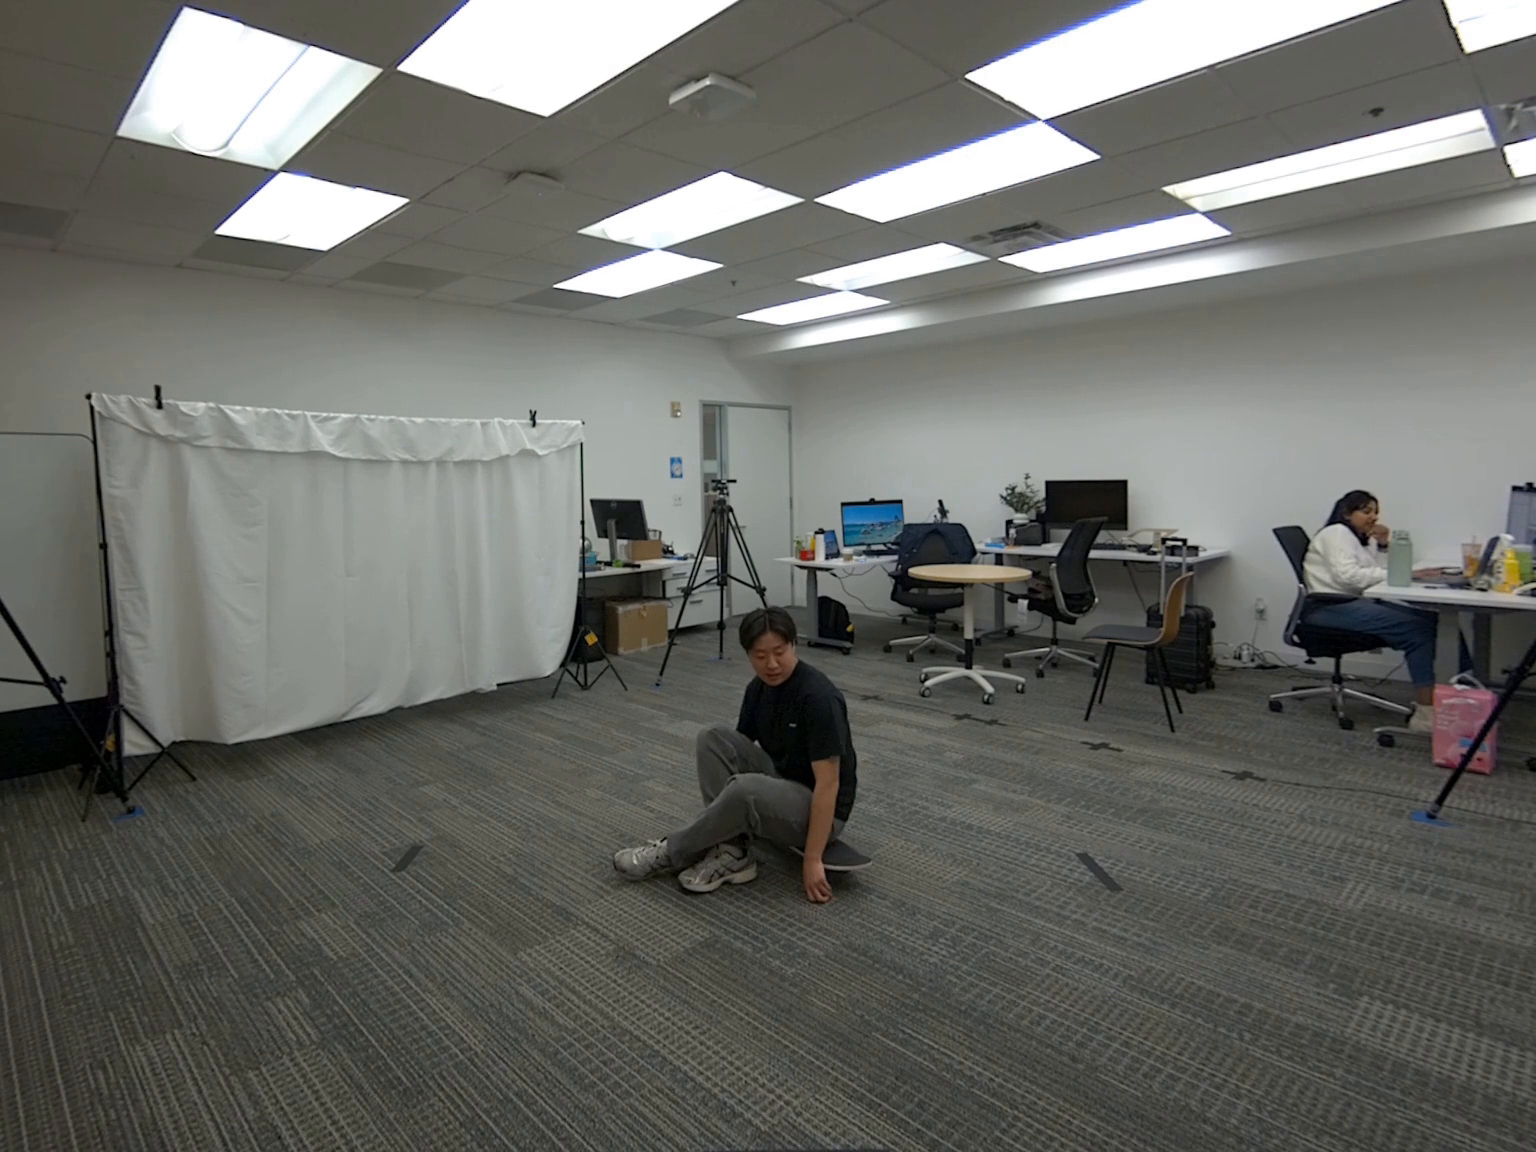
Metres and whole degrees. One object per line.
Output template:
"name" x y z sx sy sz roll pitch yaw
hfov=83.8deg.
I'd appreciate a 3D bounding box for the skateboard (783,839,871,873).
"skateboard" 0.112 0.981 3.176 0.188 0.110 0.807 2 4 -30
